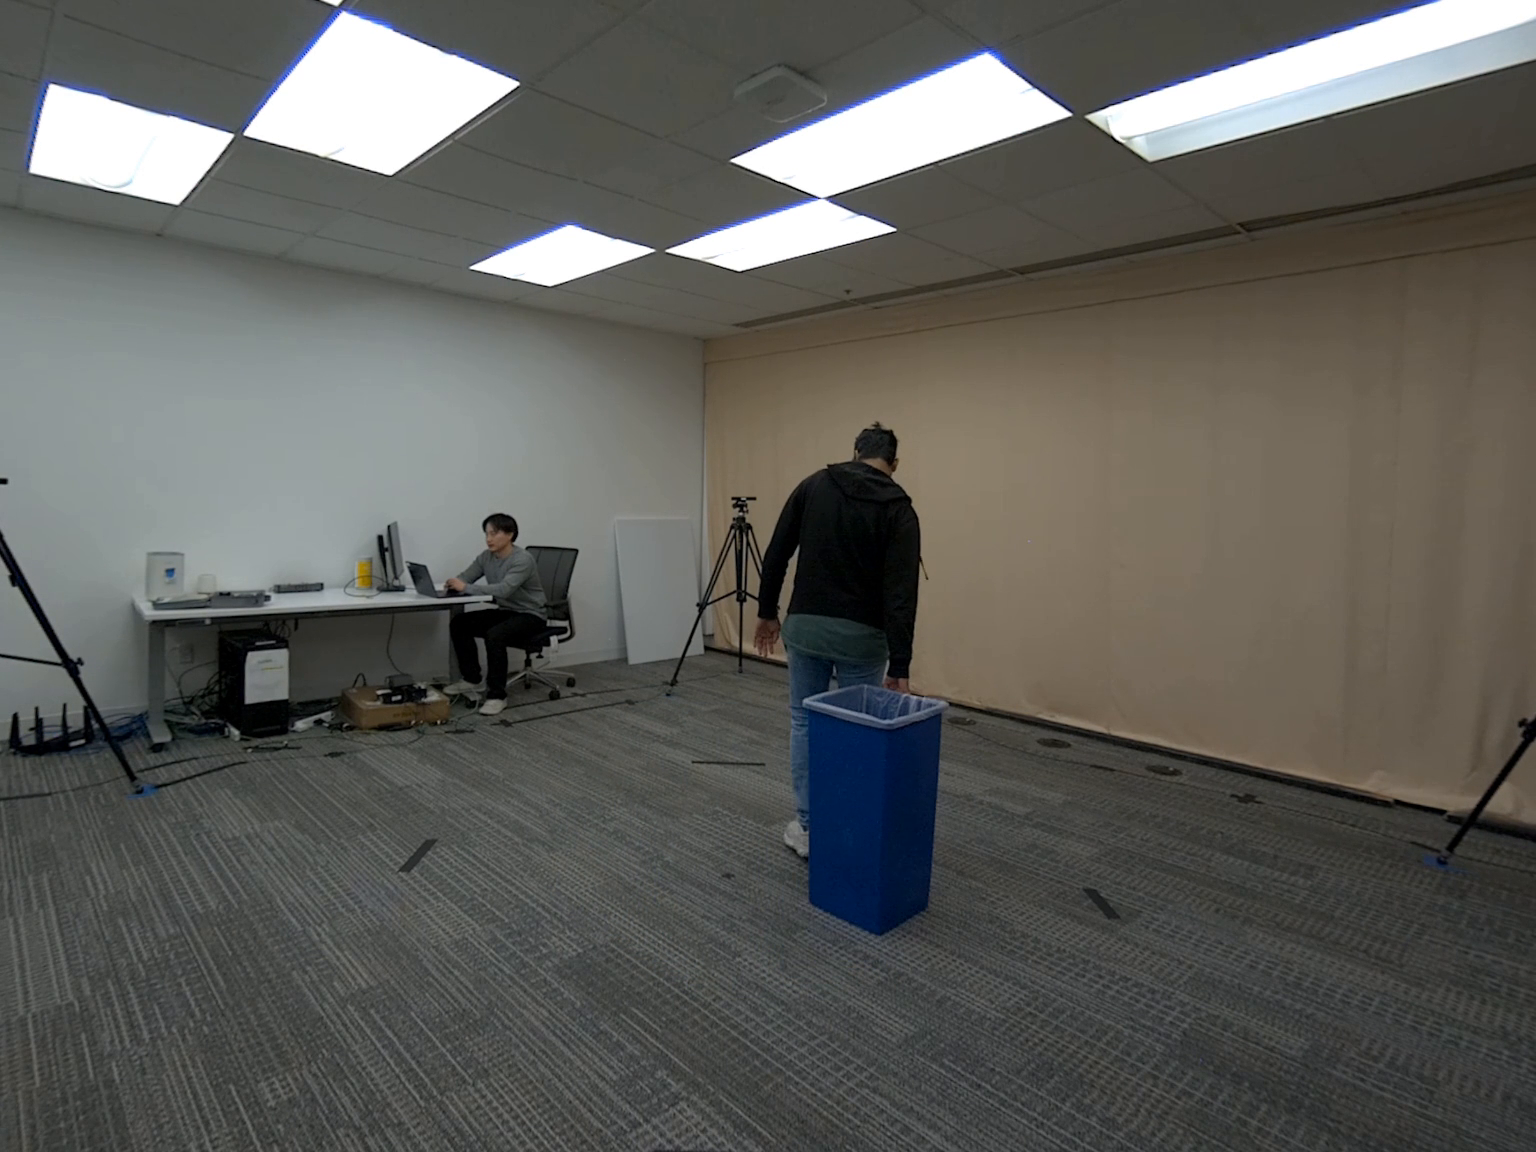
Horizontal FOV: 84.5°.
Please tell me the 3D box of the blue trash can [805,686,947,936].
[{"bbox_3d":[0.338,0.779,2.873,0.384,0.711,0.369,6,7,43],"label":"blue trash can"}]
